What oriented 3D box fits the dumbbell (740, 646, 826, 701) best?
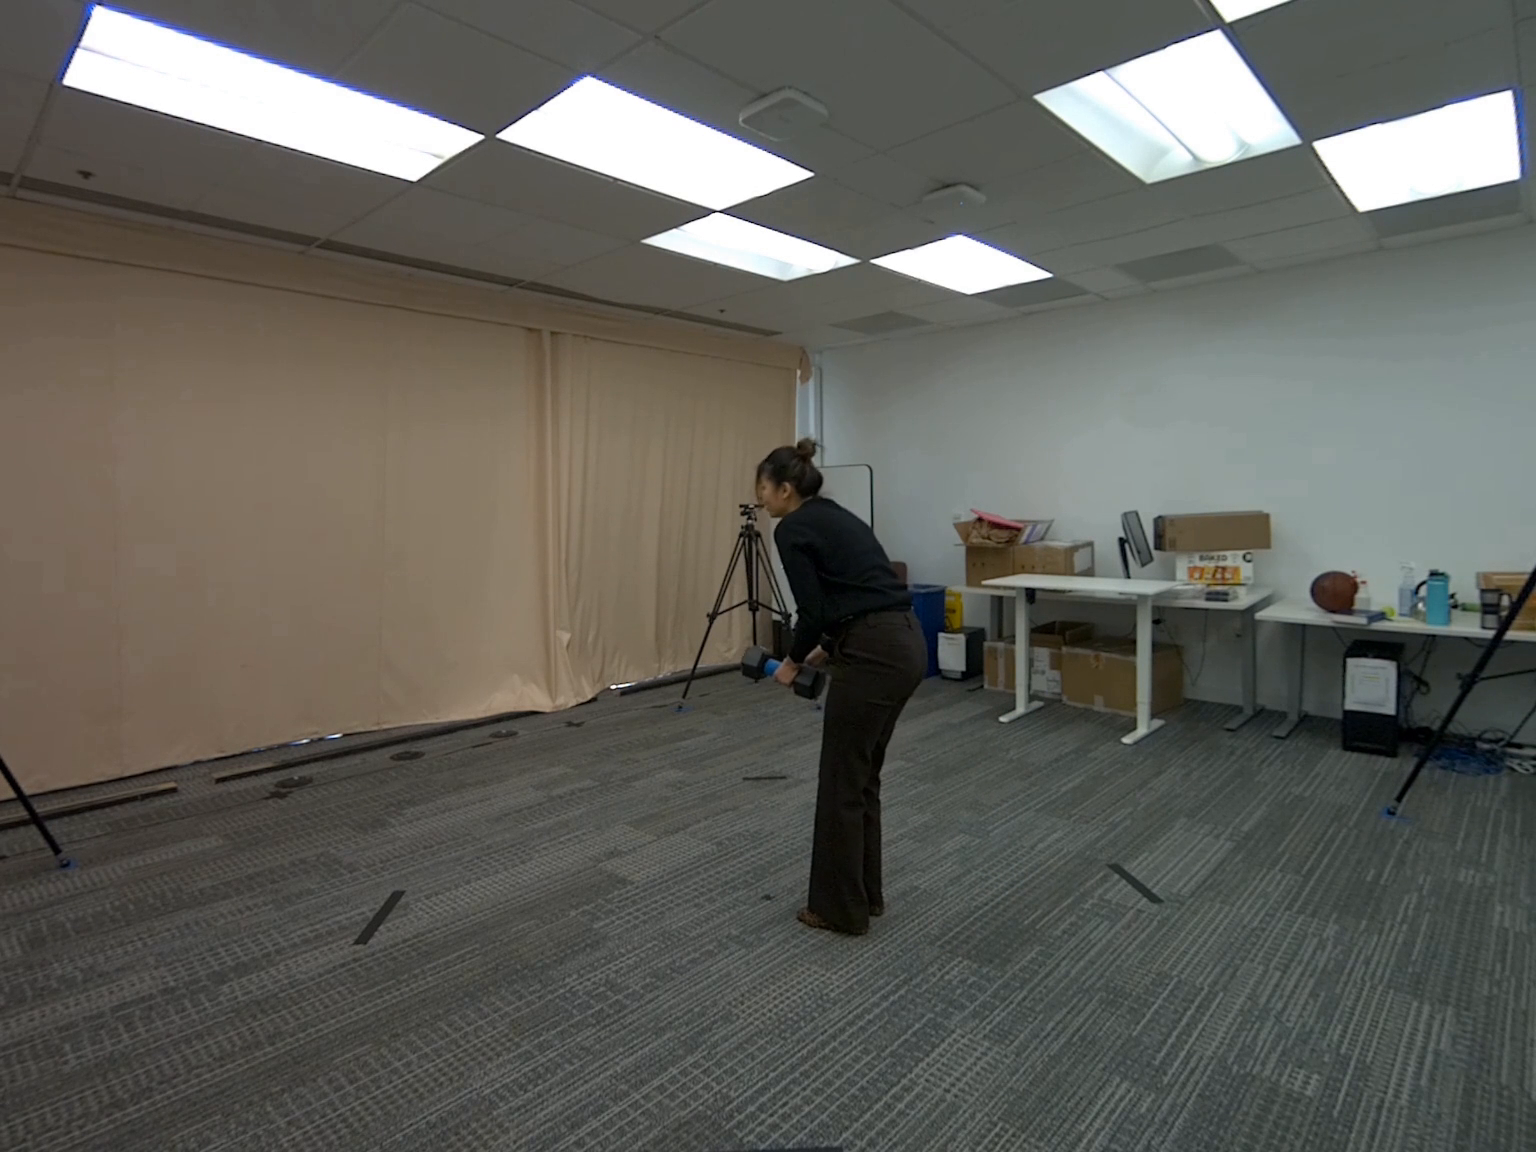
[{"bbox_3d":[0.054,0.336,2.943,0.302,0.121,0.107,15,36,26],"label":"dumbbell"}]
